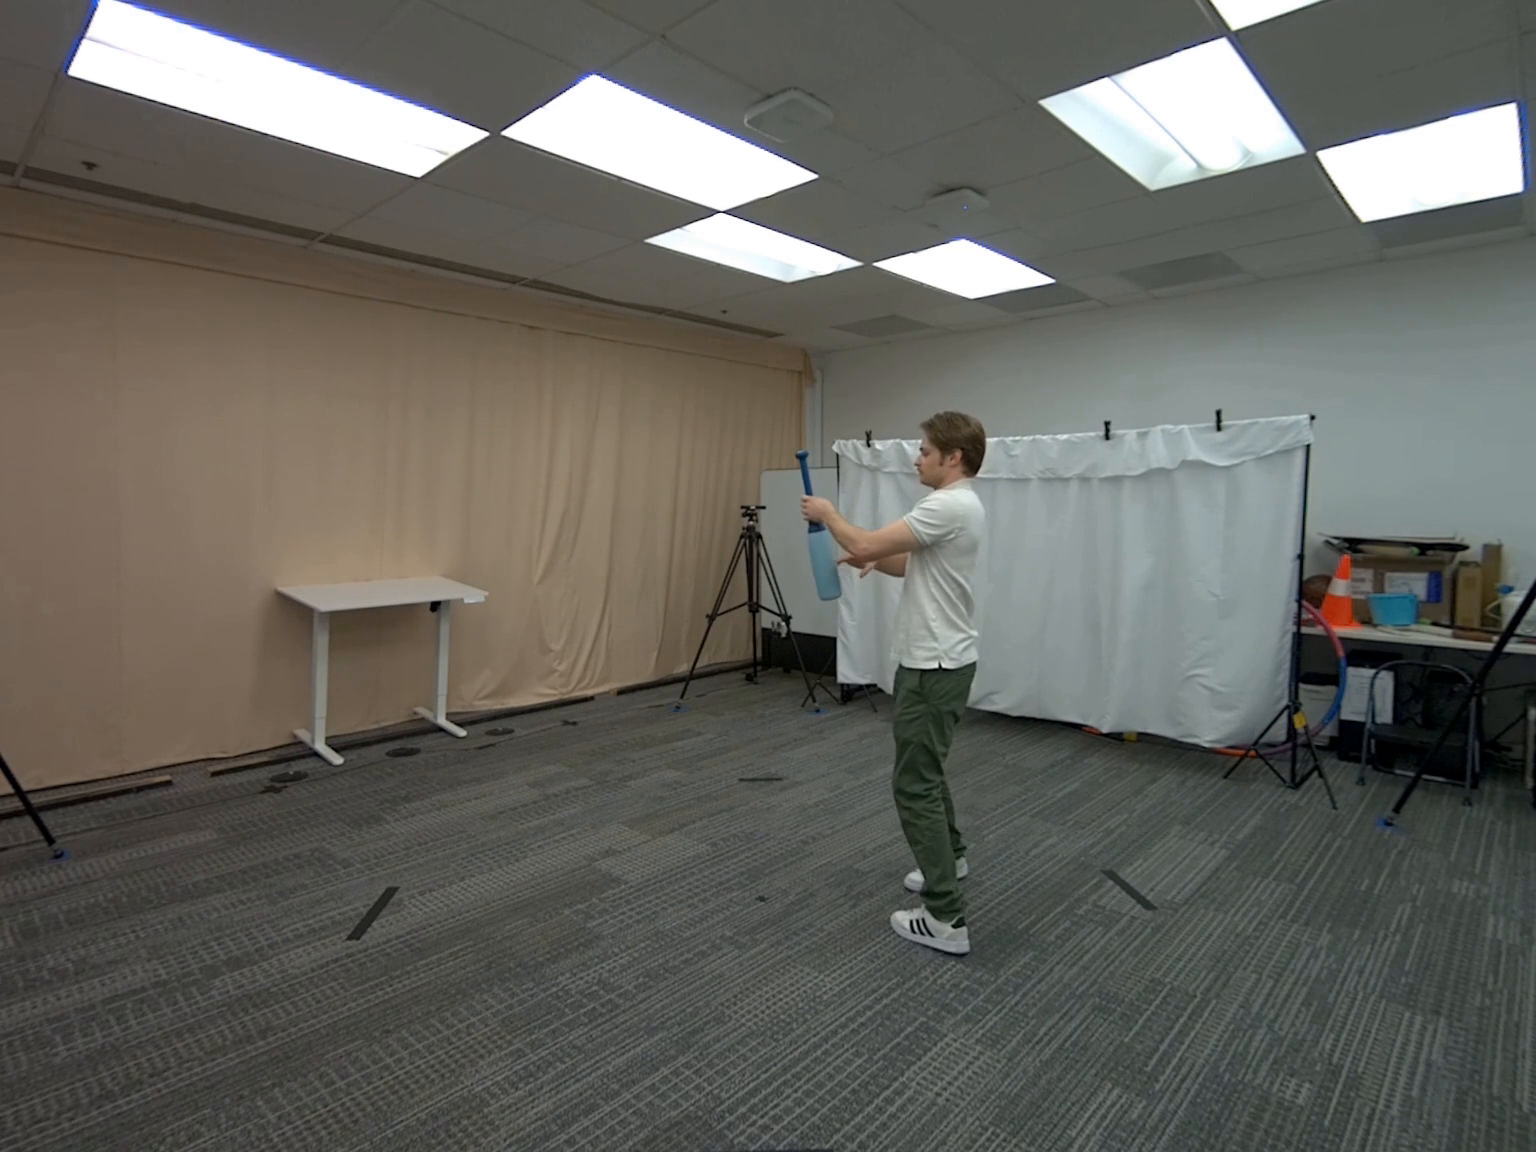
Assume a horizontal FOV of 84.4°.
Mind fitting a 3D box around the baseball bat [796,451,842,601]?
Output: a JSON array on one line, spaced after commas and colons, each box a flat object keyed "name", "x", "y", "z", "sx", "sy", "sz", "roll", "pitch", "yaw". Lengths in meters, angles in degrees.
[{"name": "baseball bat", "x": 0.186, "y": -0.183, "z": 3.016, "sx": 0.089, "sy": 0.541, "sz": 0.089, "roll": -11, "pitch": 5, "yaw": -1}]
